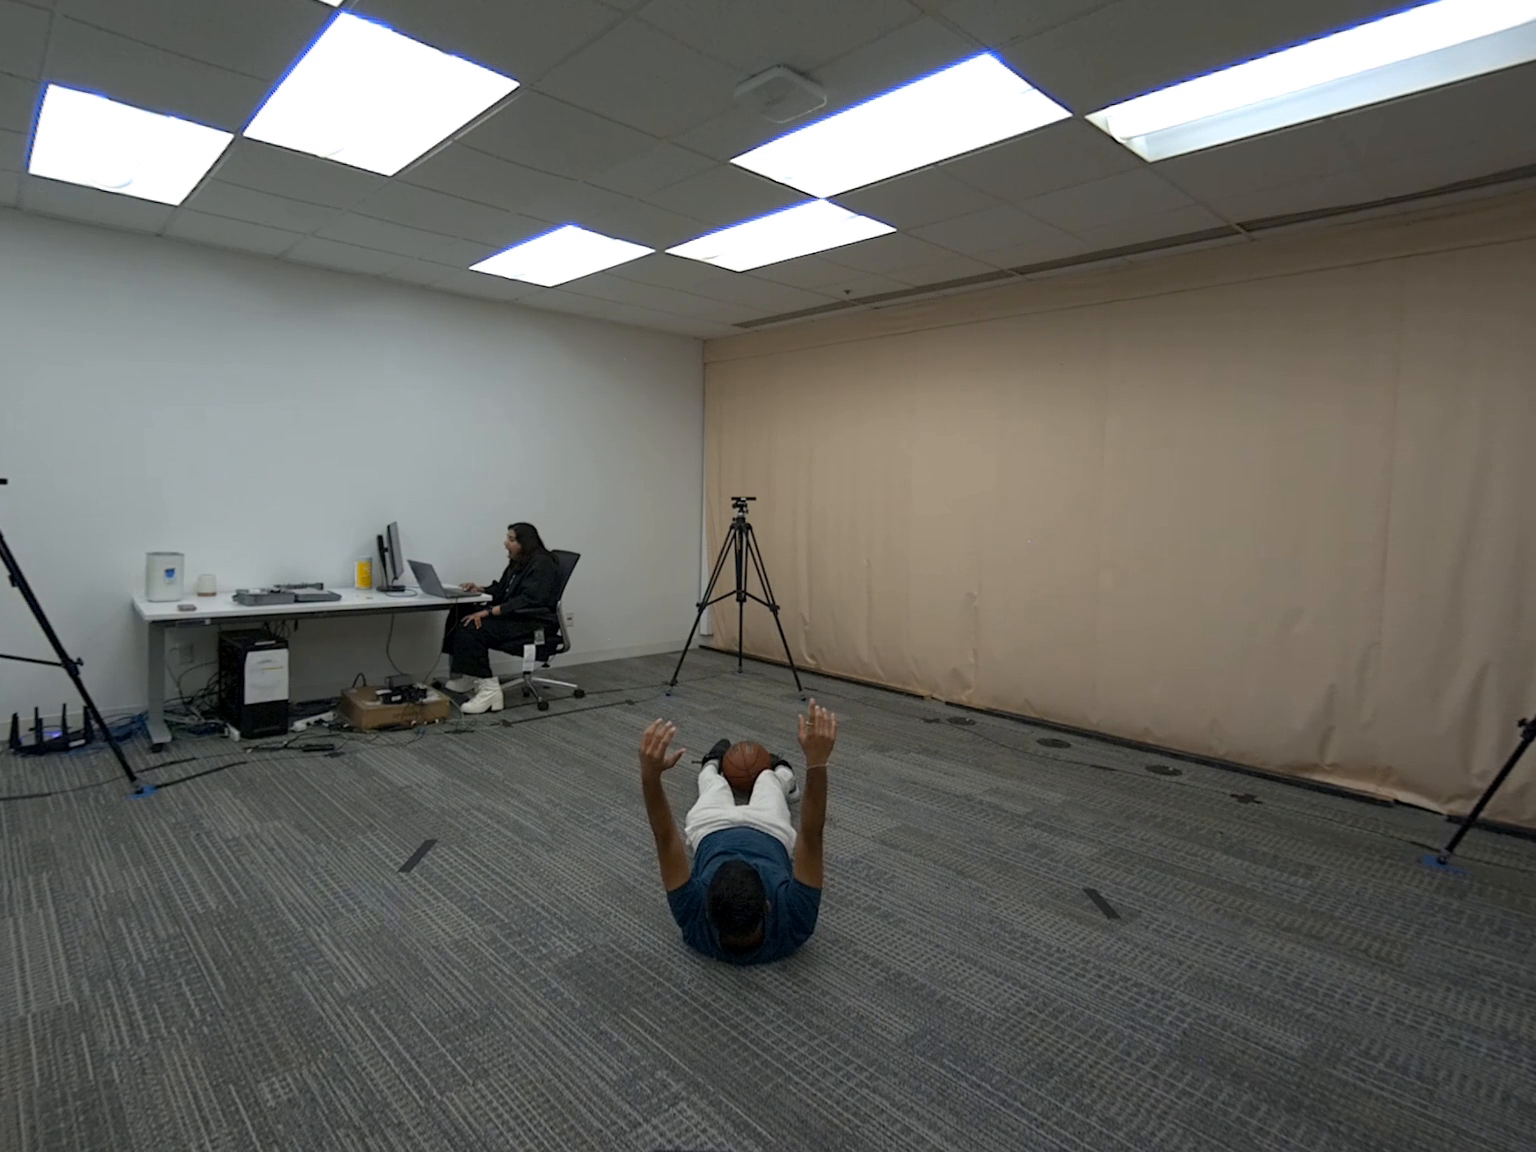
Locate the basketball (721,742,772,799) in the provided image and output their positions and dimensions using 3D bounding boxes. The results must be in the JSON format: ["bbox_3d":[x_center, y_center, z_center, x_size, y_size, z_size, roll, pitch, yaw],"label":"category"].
[{"bbox_3d":[-0.111,0.891,3.976,0.236,0.235,0.237,1,4,-1],"label":"basketball"}]
